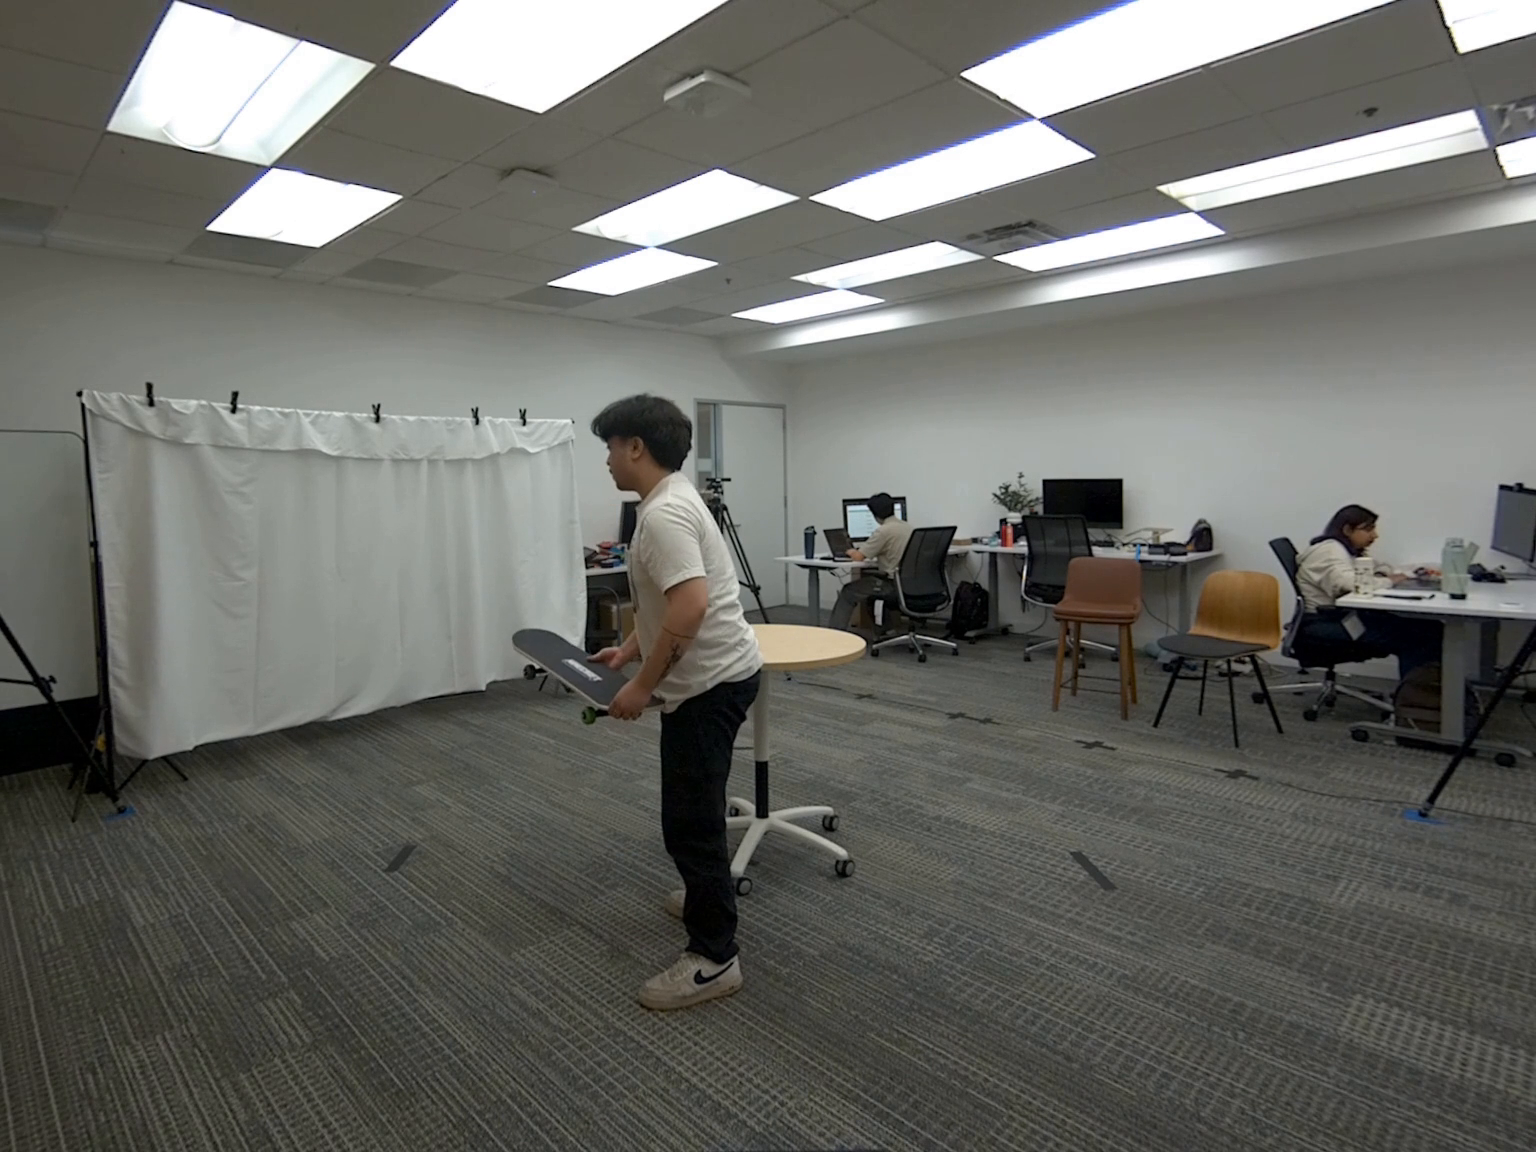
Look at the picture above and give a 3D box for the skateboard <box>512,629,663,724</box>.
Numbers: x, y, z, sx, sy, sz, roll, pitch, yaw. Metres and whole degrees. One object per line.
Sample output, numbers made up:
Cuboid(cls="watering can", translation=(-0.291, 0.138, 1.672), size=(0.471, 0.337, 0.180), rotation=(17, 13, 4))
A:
Cuboid(cls="skateboard", translation=(-0.572, 0.329, 2.603), size=(0.188, 0.109, 0.814), rotation=(-1, 15, -36))
